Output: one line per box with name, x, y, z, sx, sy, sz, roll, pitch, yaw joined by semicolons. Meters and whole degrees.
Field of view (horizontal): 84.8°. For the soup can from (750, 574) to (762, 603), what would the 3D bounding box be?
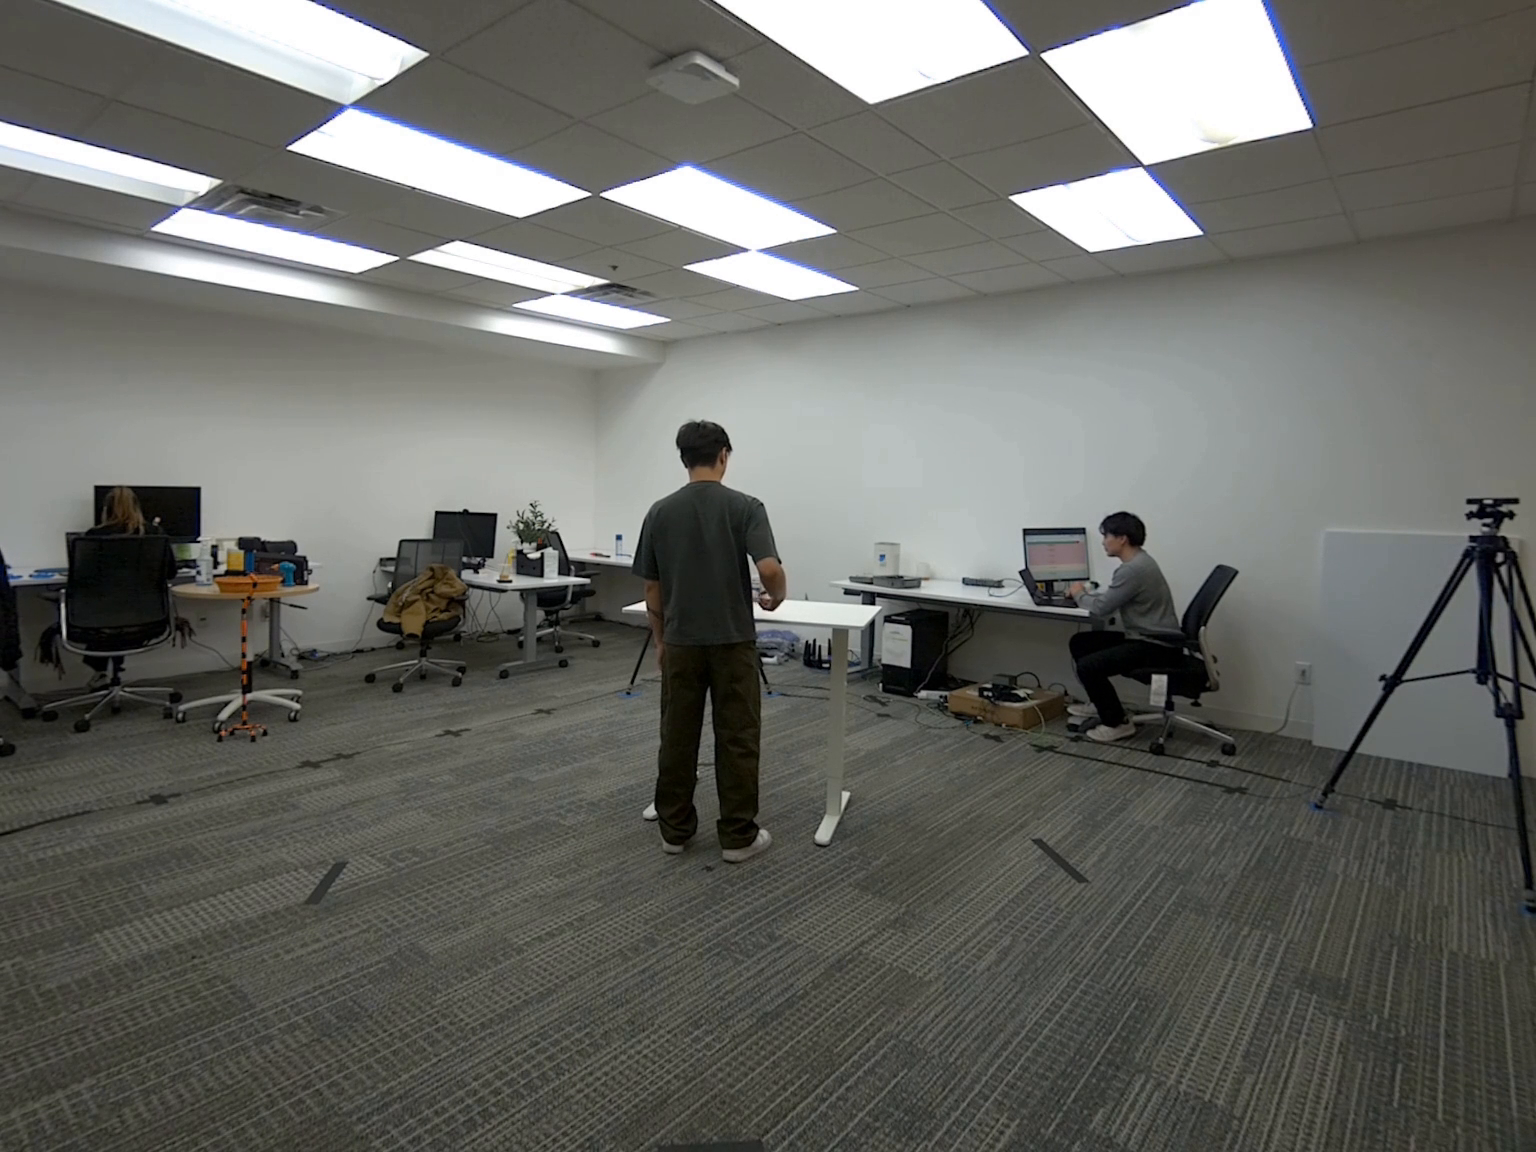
soup can;-0.053;0.054;3.852;0.067;0.121;0.067;1;0;-2
